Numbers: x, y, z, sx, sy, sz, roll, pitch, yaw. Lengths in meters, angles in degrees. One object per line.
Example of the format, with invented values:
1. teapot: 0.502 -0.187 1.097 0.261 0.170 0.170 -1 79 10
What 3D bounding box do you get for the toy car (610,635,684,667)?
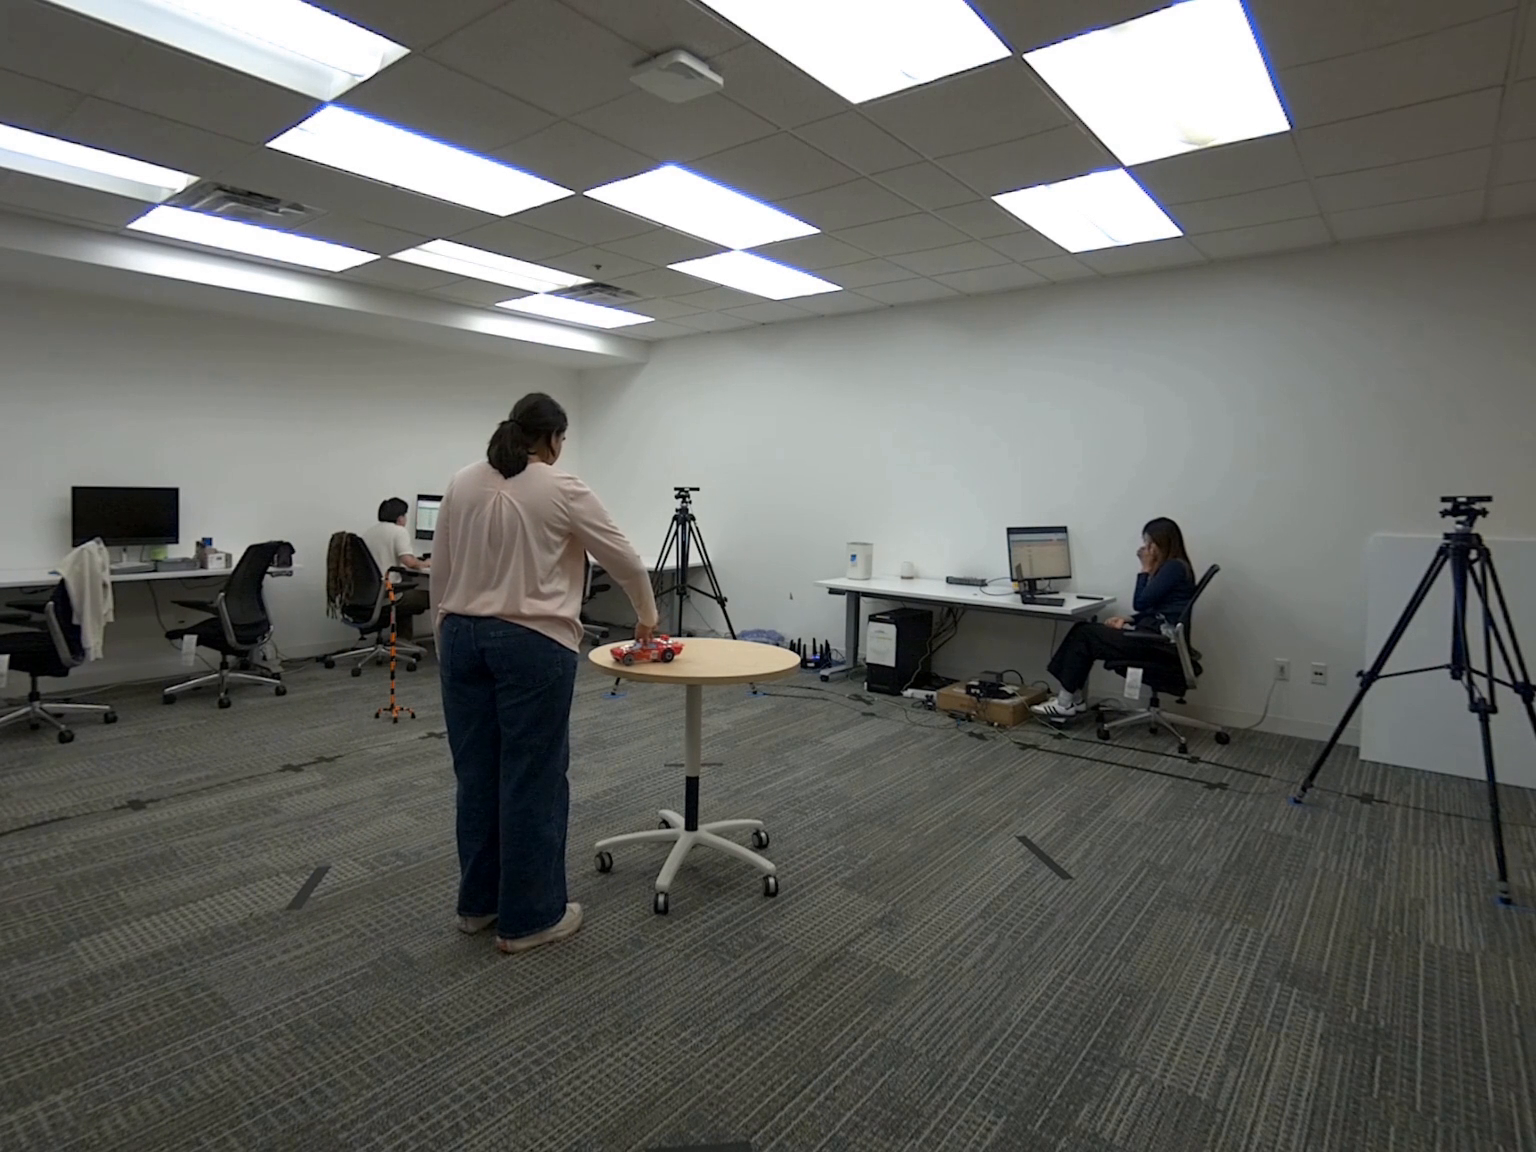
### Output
1. toy car: -0.417 0.261 2.956 0.250 0.082 0.134 -15 11 -25
